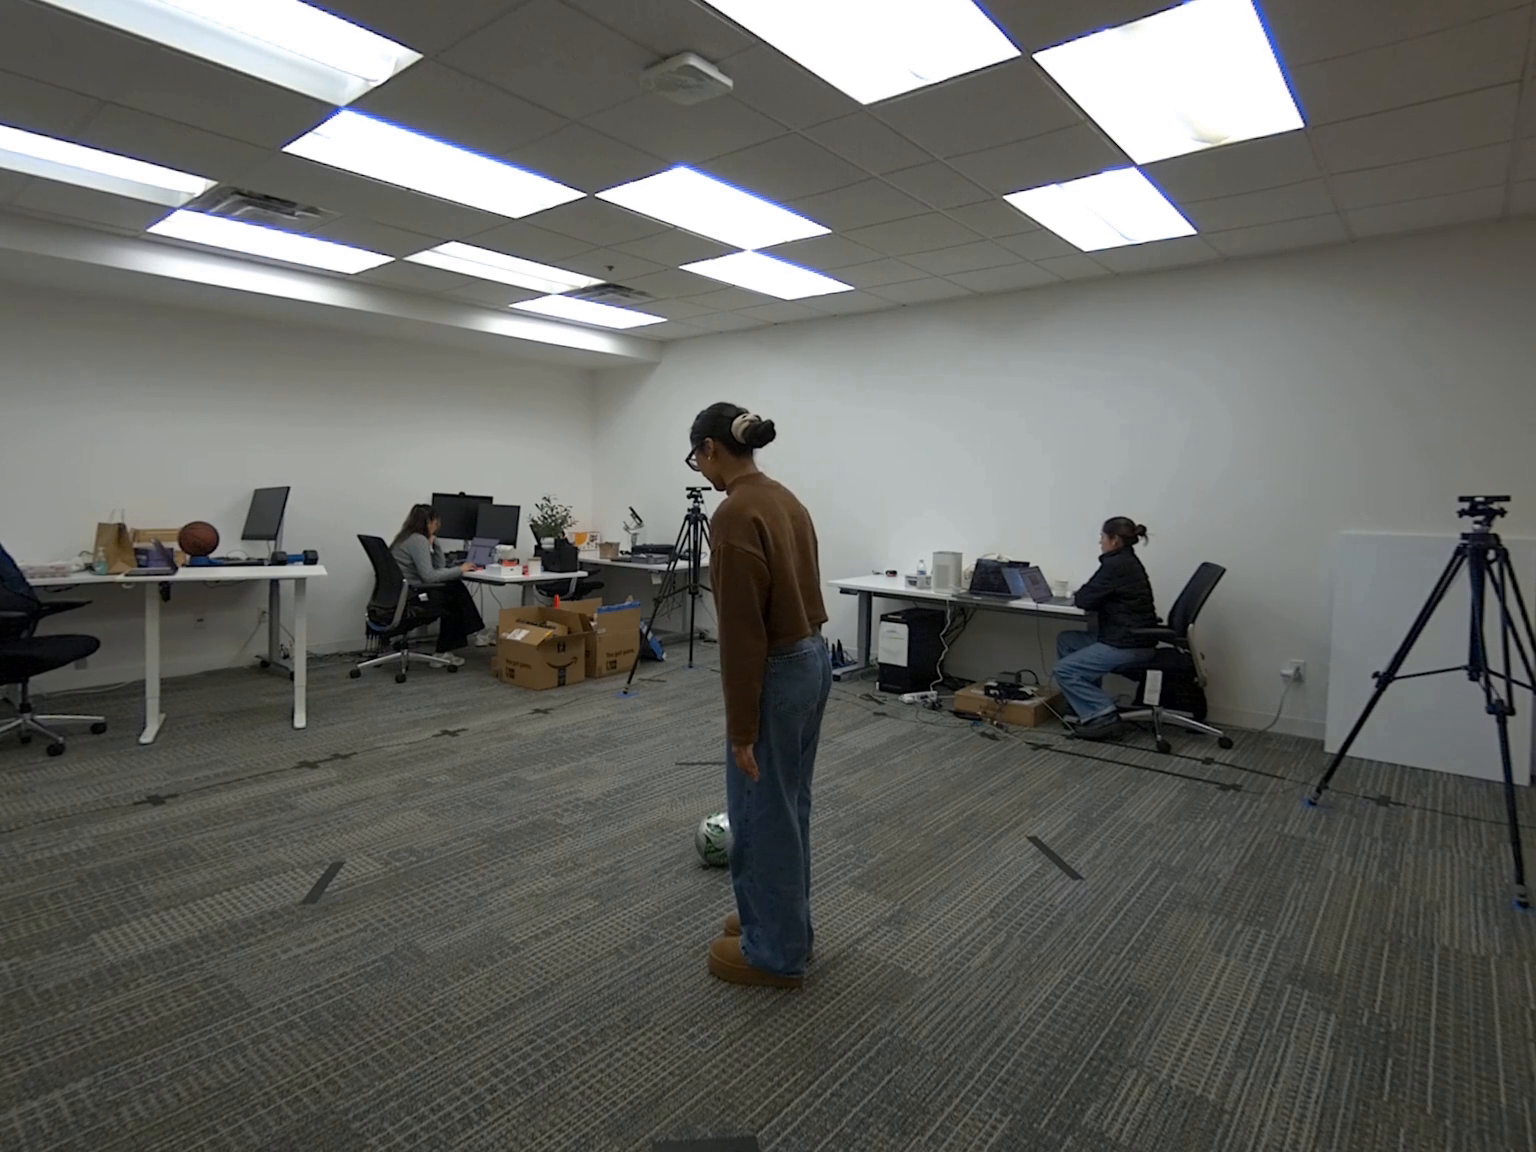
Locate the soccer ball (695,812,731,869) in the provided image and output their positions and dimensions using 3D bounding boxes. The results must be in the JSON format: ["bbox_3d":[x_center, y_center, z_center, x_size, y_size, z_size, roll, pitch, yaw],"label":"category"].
[{"bbox_3d":[-0.191,0.965,3.156,0.187,0.187,0.188,1,4,-2],"label":"soccer ball"}]
